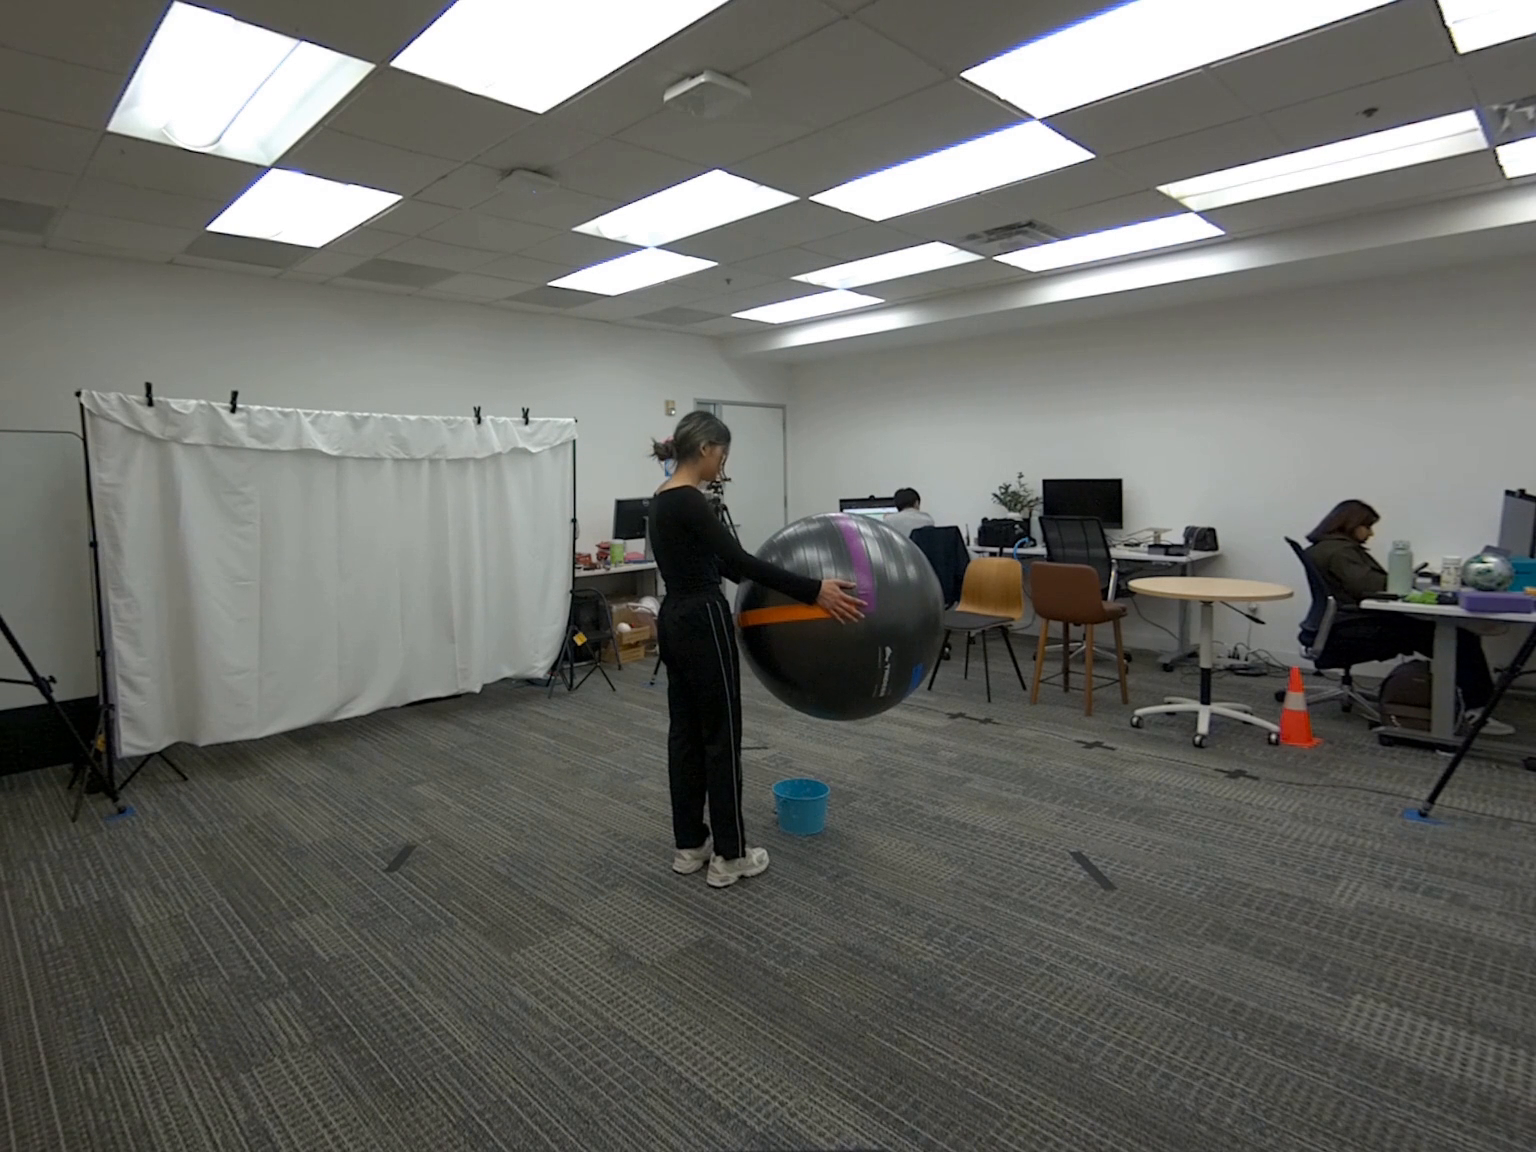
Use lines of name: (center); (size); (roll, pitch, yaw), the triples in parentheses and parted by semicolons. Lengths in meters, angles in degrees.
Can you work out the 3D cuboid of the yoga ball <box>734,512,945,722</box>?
yoga ball: (0.257, 0.152, 3.144); (0.757, 0.755, 0.762); (-1, 5, -2)
